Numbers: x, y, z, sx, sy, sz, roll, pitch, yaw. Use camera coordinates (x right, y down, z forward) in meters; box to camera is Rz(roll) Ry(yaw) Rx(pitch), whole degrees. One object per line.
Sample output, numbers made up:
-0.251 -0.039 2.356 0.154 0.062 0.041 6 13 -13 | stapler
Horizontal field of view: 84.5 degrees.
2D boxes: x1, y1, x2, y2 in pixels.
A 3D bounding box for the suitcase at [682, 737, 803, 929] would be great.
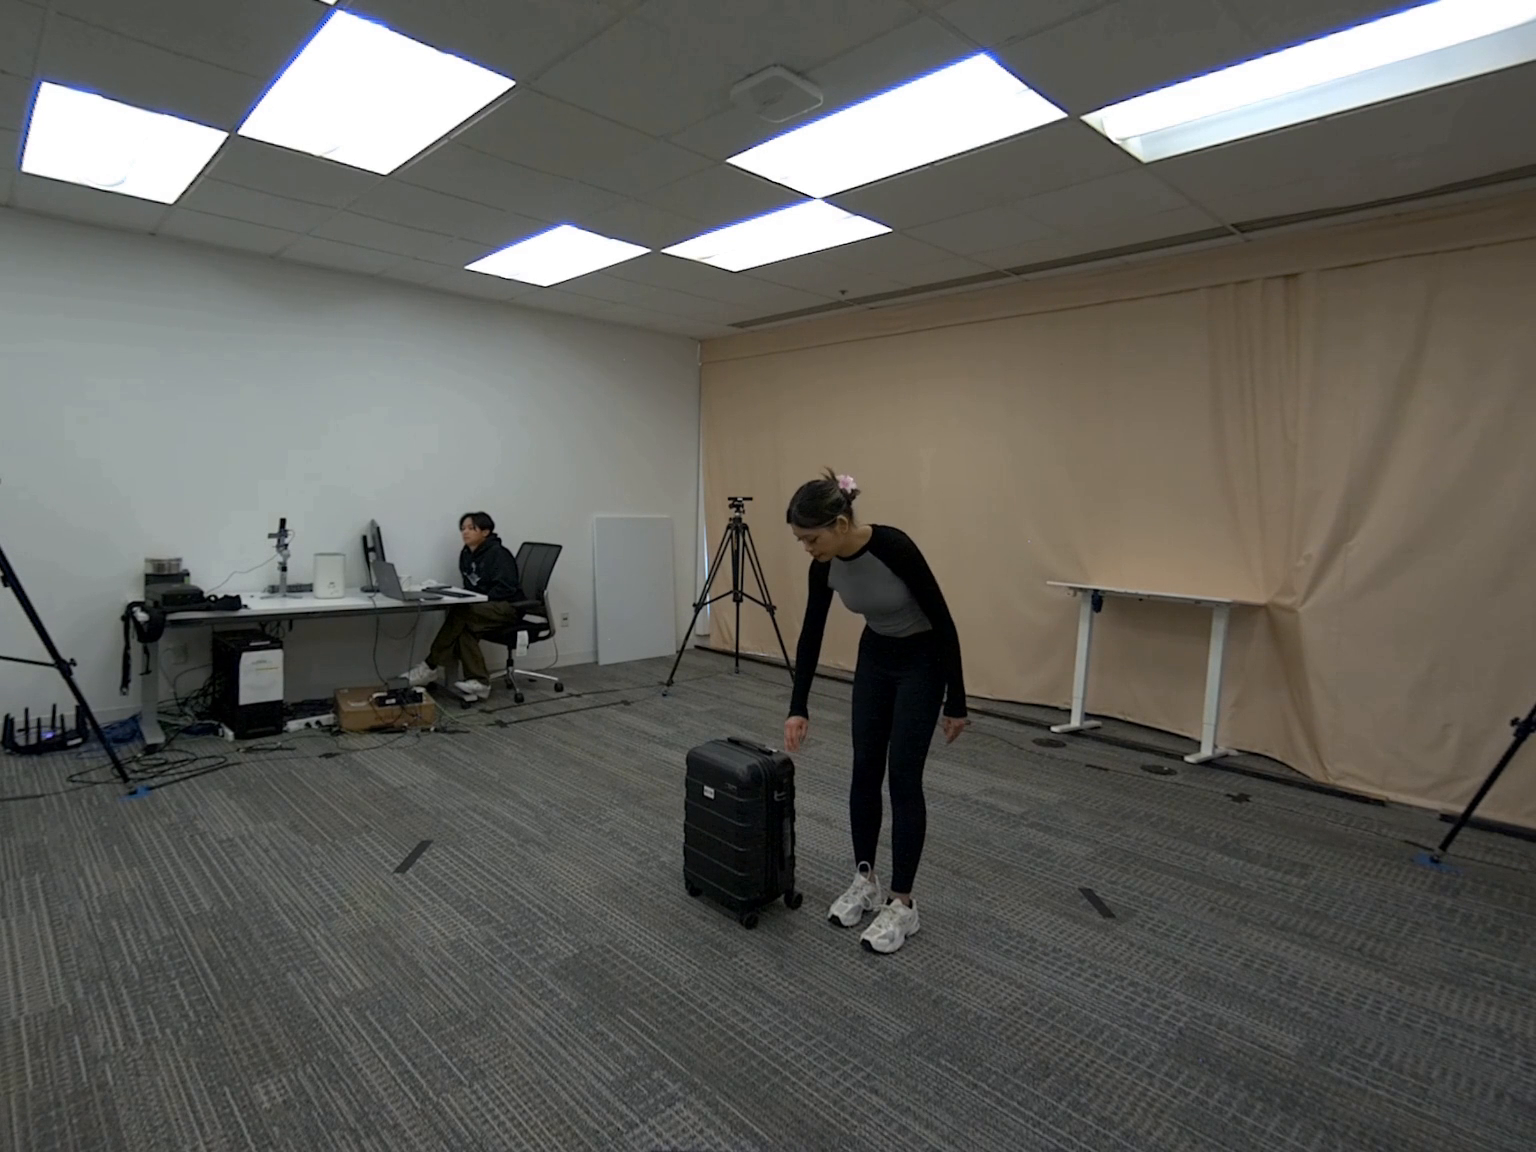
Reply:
-0.105 0.853 2.894 0.243 0.547 0.385 -5 7 -41 | suitcase
